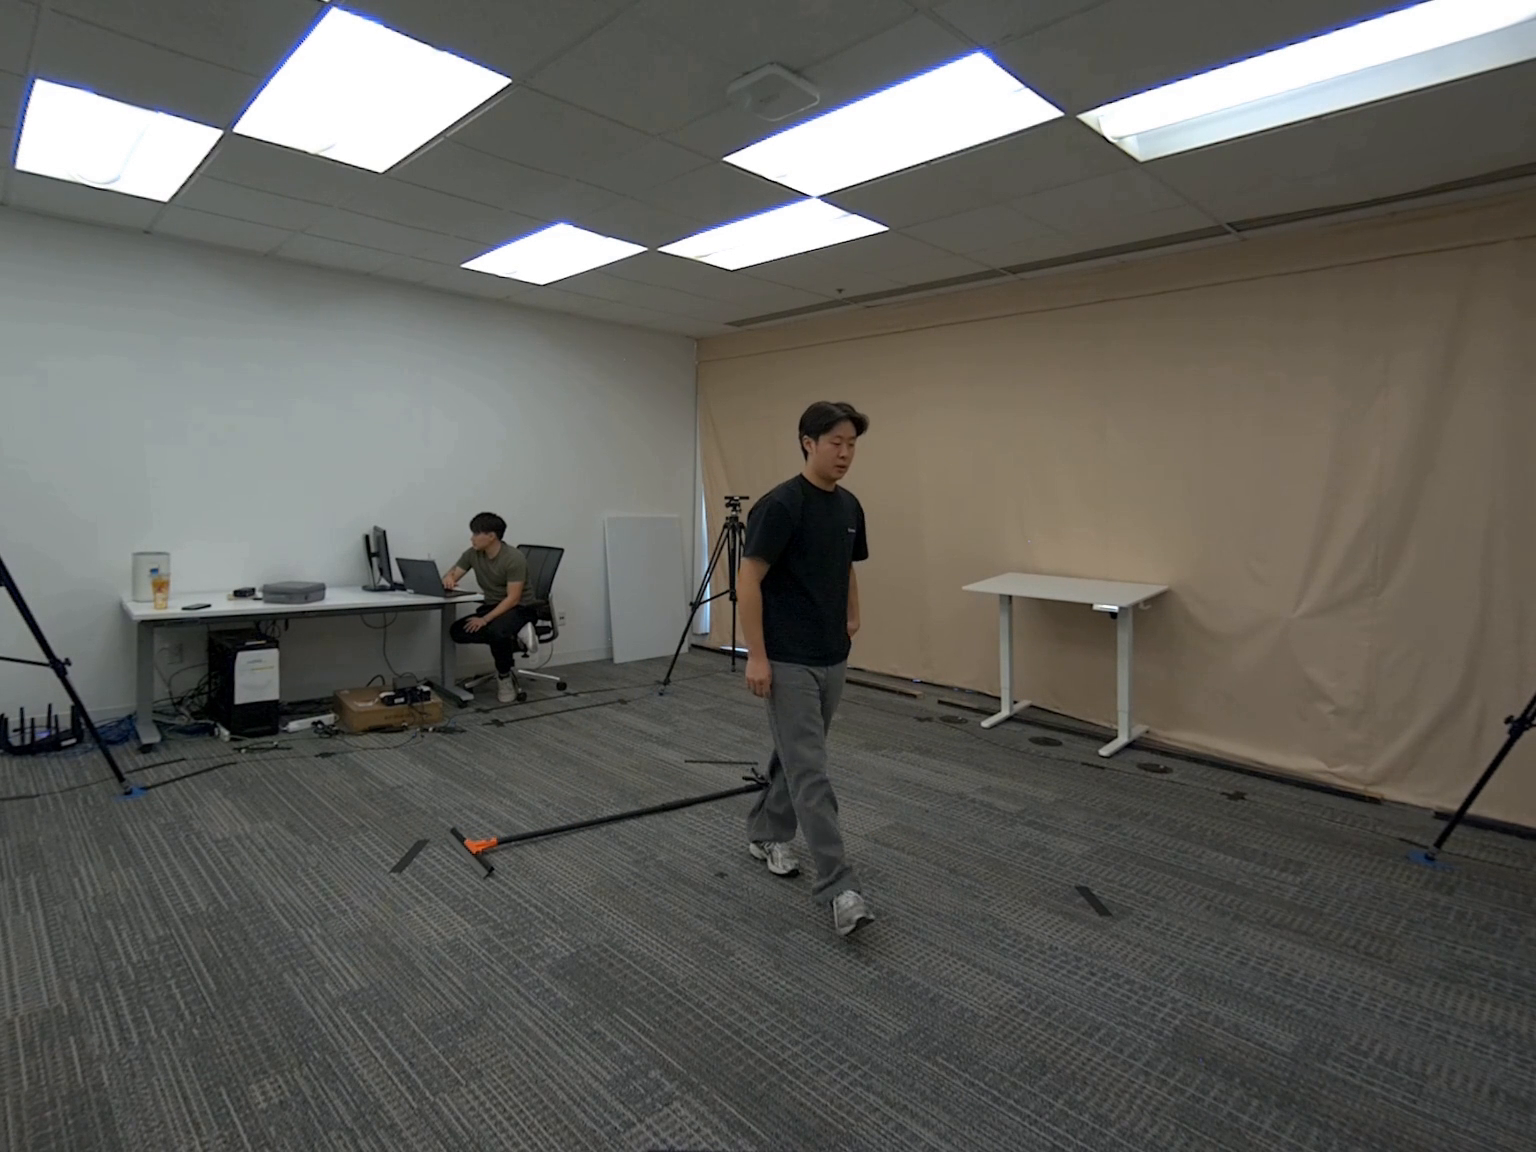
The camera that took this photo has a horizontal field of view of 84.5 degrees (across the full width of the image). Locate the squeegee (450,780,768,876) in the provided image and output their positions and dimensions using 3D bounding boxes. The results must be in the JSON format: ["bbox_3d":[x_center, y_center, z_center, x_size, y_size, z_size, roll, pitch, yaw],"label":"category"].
[{"bbox_3d":[-0.557,1.001,3.644,1.503,0.053,0.449,-2,8,-38],"label":"squeegee"}]
